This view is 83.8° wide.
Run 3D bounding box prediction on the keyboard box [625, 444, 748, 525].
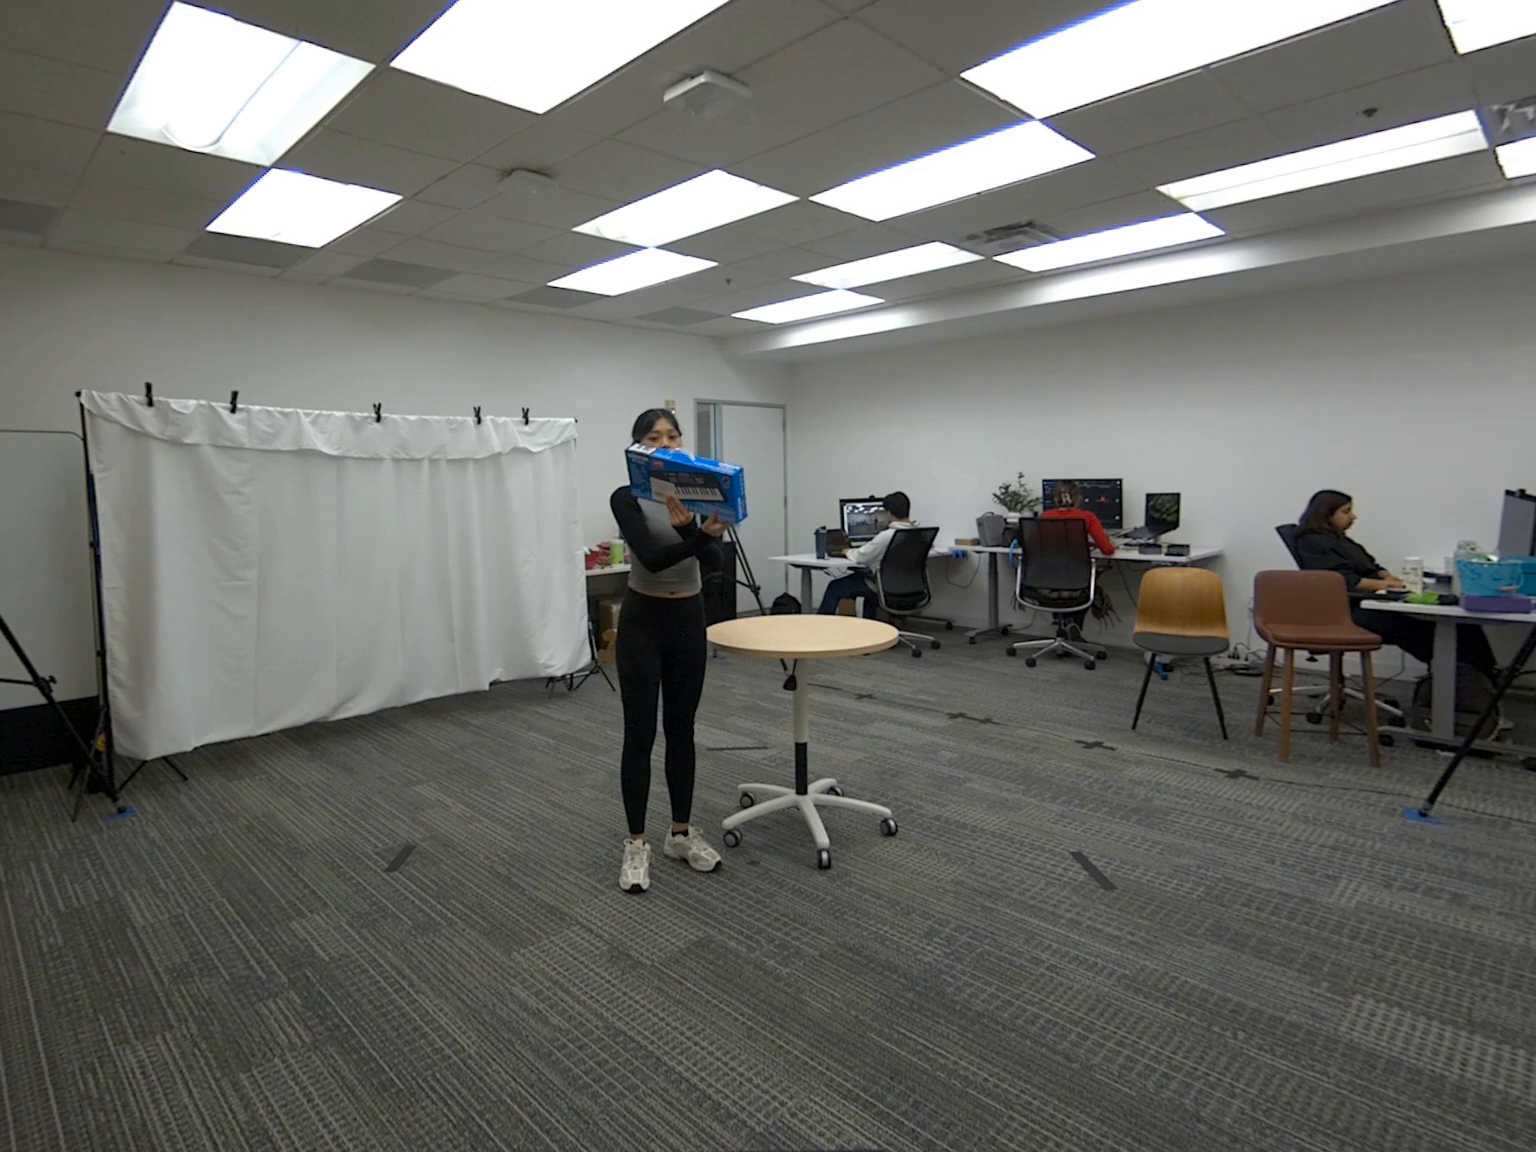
[{"bbox_3d":[-0.266,-0.297,2.707,0.451,0.171,0.059,17,38,32],"label":"keyboard box"}]
